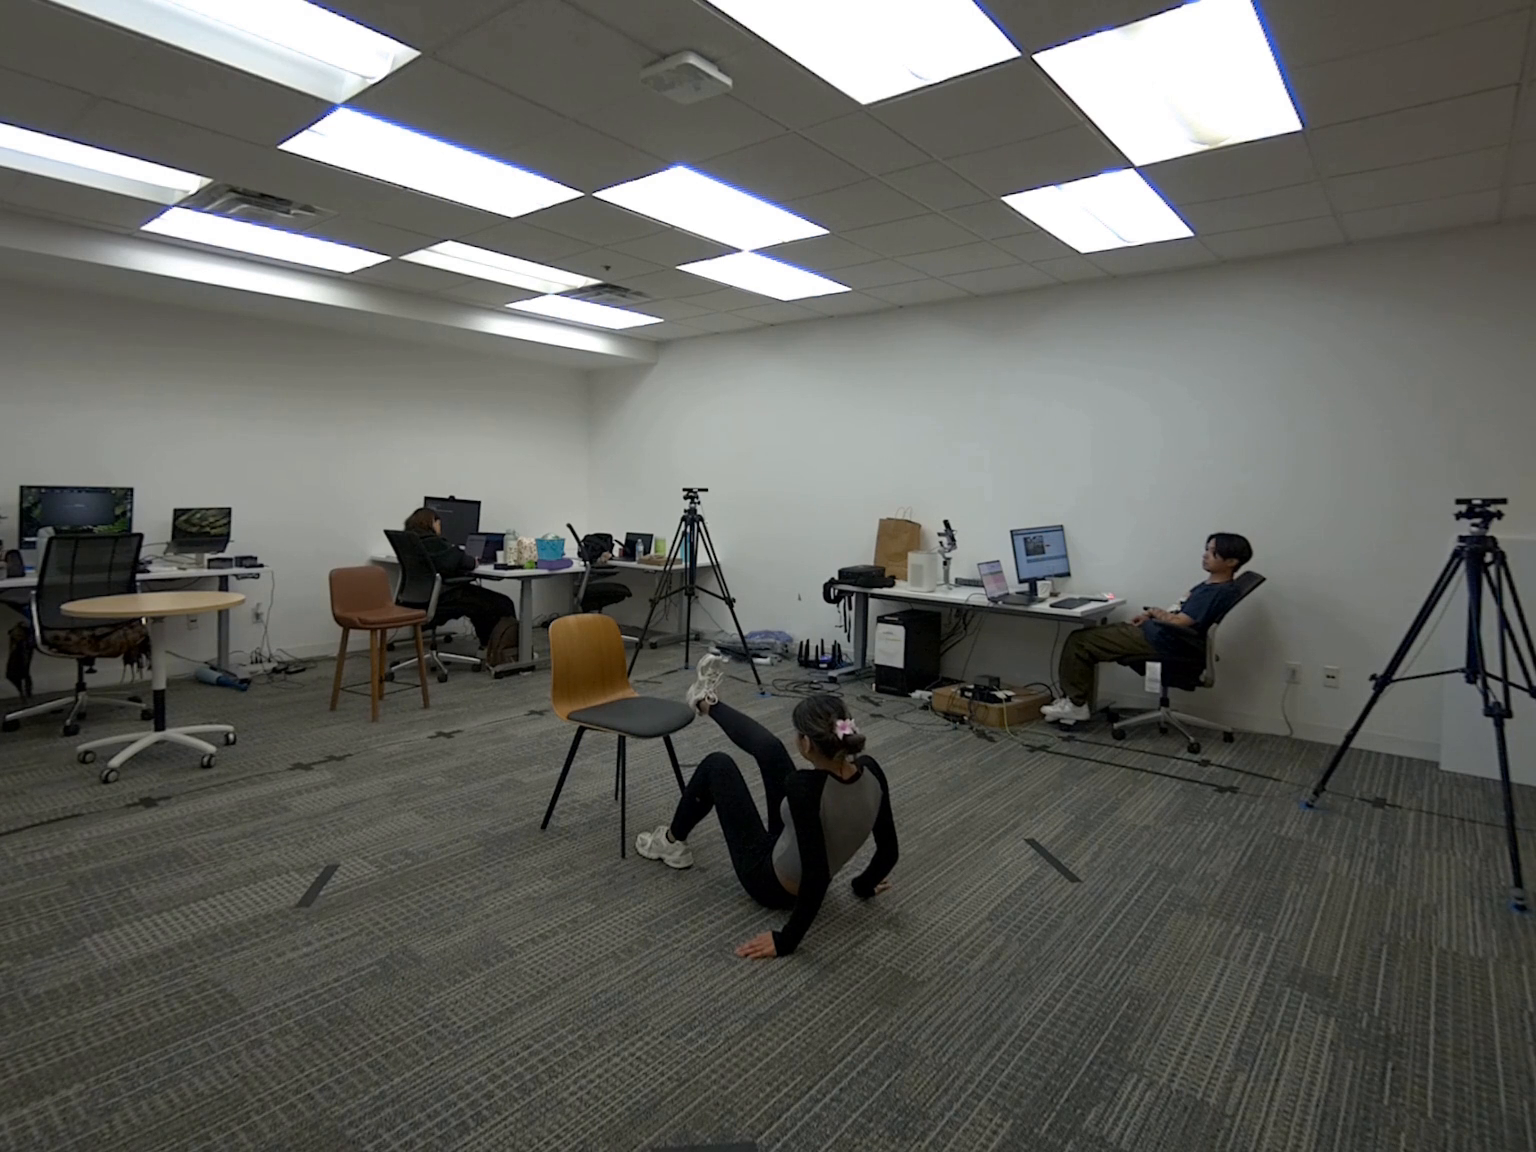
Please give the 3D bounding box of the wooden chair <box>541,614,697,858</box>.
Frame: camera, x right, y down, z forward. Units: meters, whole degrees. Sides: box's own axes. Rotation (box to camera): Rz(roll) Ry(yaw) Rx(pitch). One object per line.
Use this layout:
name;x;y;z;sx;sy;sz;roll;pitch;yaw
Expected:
wooden chair;-0.604;0.599;3.464;0.538;0.877;0.464;-2;1;35
